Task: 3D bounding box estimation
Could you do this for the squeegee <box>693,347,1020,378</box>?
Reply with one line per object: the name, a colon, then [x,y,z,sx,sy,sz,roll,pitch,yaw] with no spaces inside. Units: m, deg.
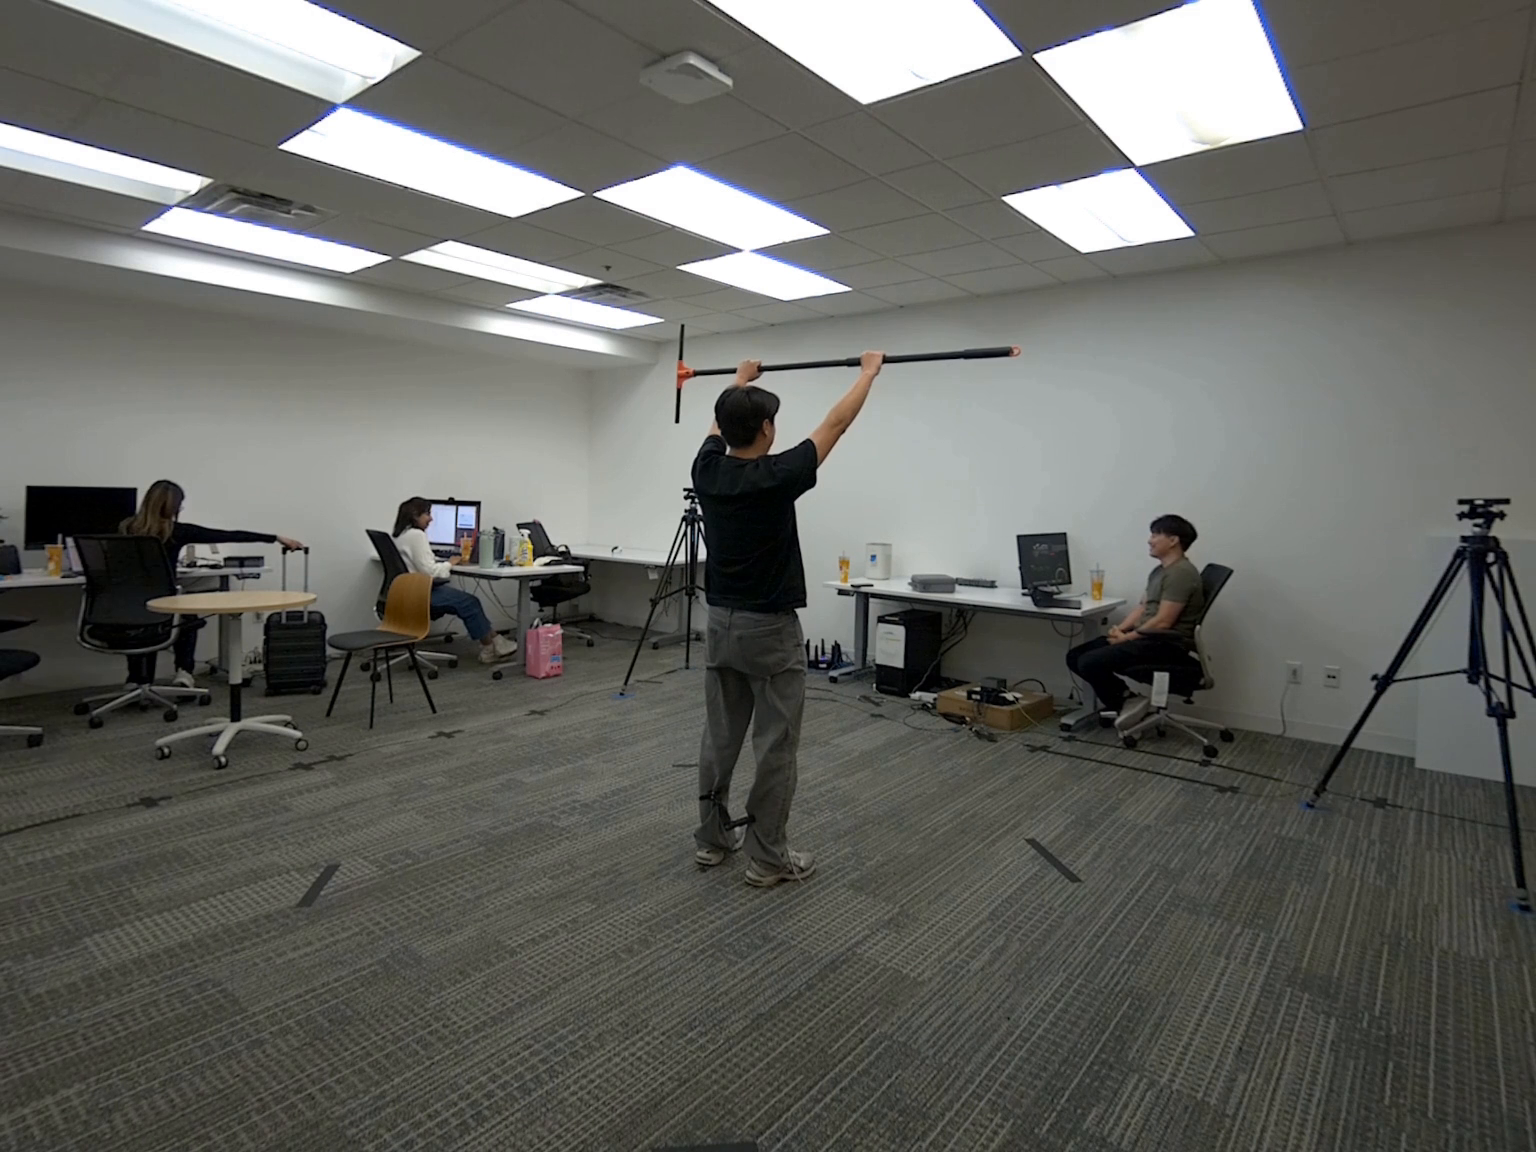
squeegee: [0.201,-0.816,3.272,1.591,0.436,0.051,7,5,39]
